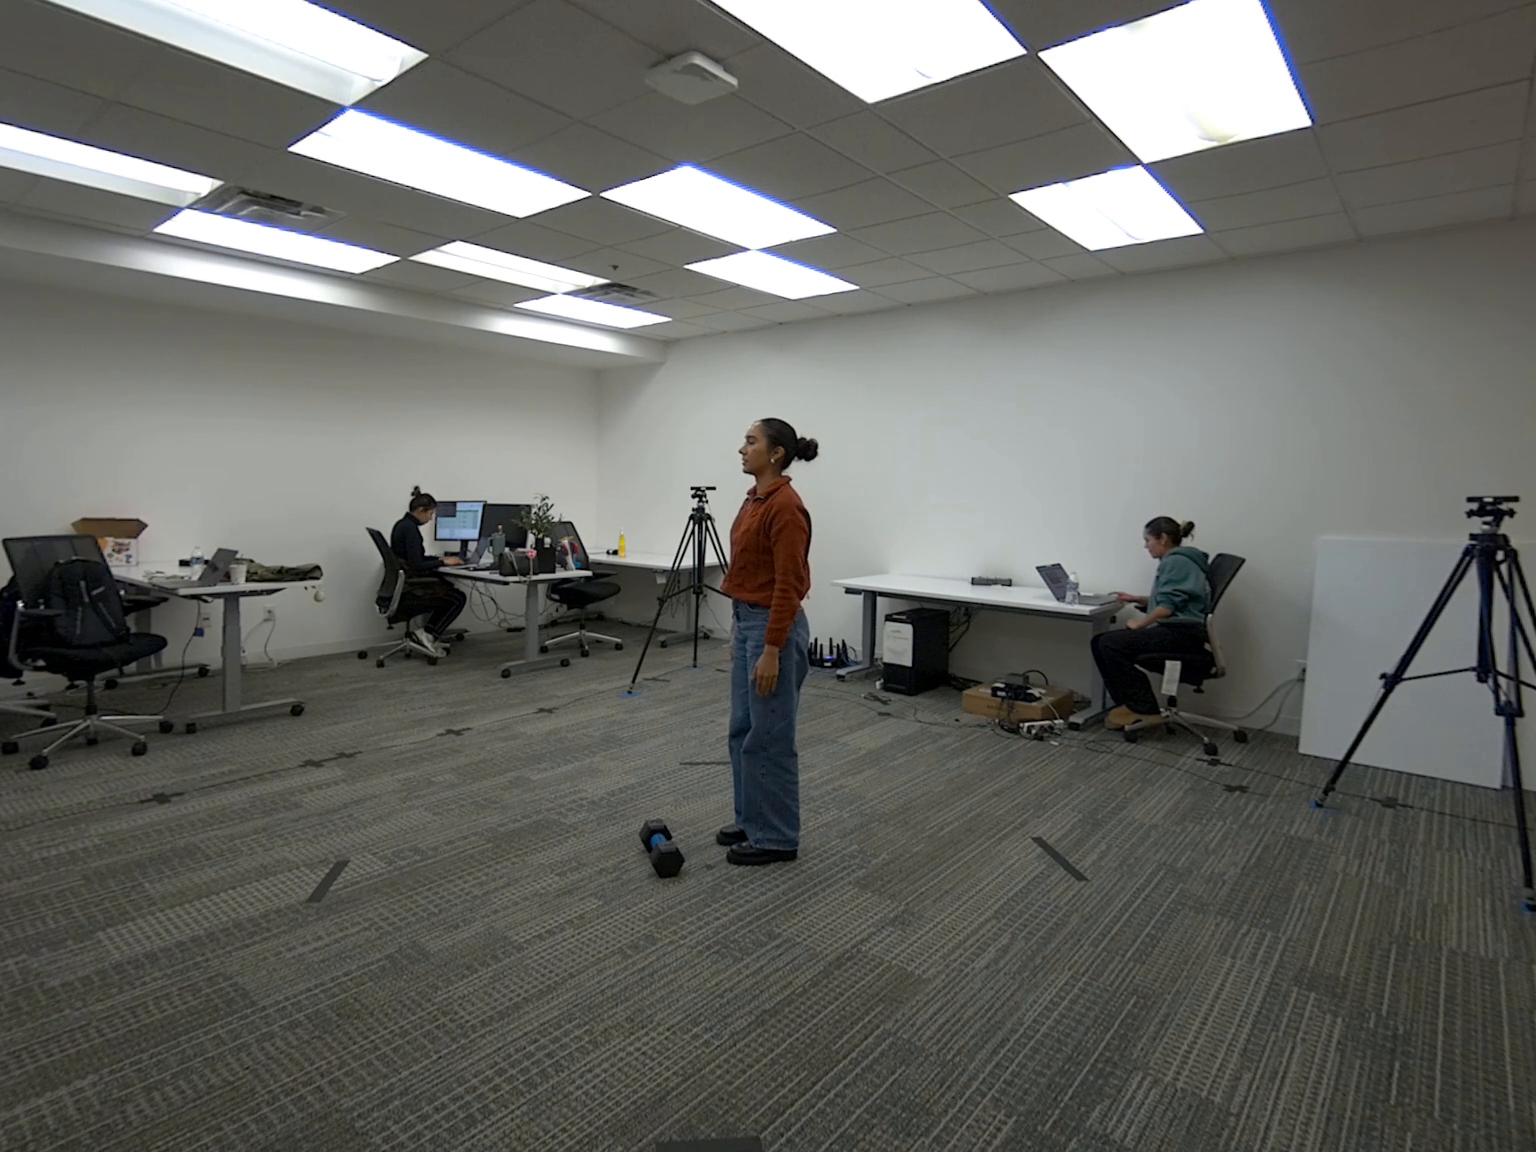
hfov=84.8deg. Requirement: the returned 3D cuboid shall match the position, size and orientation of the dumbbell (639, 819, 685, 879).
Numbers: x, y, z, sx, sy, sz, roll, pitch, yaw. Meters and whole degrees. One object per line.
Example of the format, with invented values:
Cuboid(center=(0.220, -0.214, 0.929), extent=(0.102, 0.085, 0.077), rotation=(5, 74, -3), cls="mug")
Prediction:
Cuboid(center=(-0.407, 1.003, 3.154), extent=(0.121, 0.108, 0.299), rotation=(1, 5, -18), cls="dumbbell")
